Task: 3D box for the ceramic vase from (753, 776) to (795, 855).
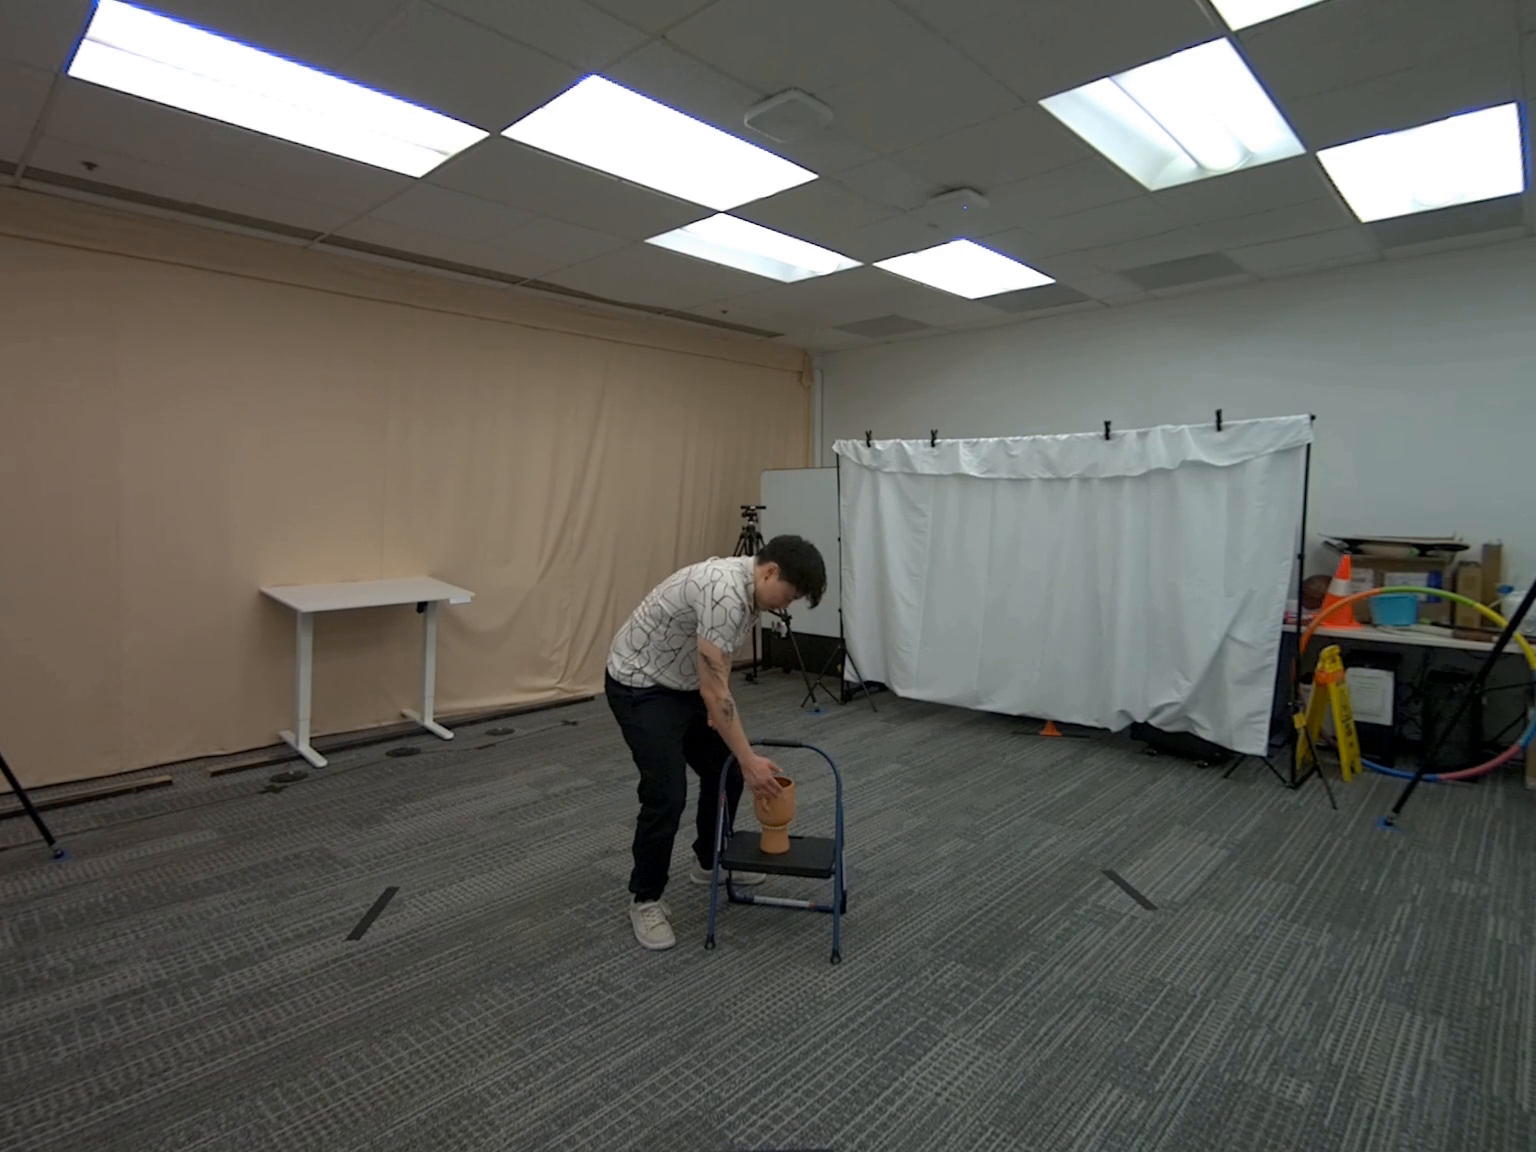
[{"bbox_3d":[0.027,0.779,2.774,0.155,0.219,0.138,-4,5,-29],"label":"ceramic vase"}]
